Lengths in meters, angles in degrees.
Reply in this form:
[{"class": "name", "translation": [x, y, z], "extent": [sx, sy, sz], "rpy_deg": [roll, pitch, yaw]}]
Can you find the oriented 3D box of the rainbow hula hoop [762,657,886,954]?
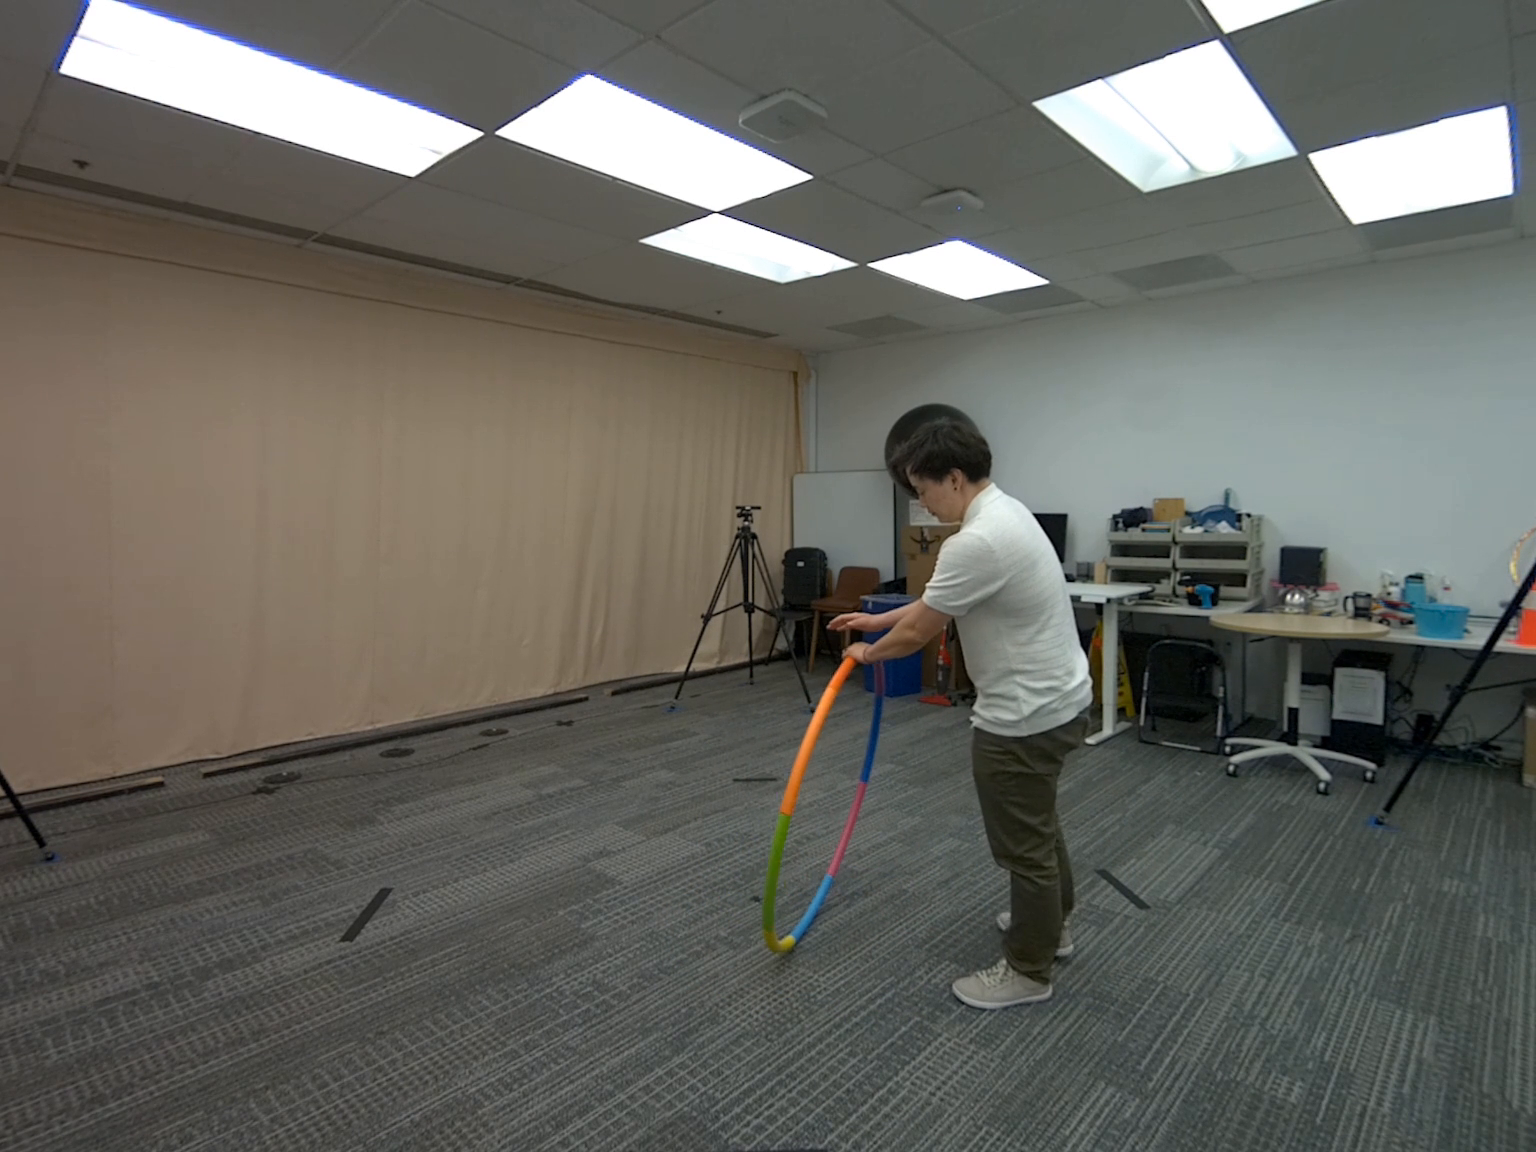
[{"class": "rainbow hula hoop", "translation": [0.202, 0.697, 2.679], "extent": [0.036, 0.975, 0.957], "rpy_deg": [14, 9, 21]}]
